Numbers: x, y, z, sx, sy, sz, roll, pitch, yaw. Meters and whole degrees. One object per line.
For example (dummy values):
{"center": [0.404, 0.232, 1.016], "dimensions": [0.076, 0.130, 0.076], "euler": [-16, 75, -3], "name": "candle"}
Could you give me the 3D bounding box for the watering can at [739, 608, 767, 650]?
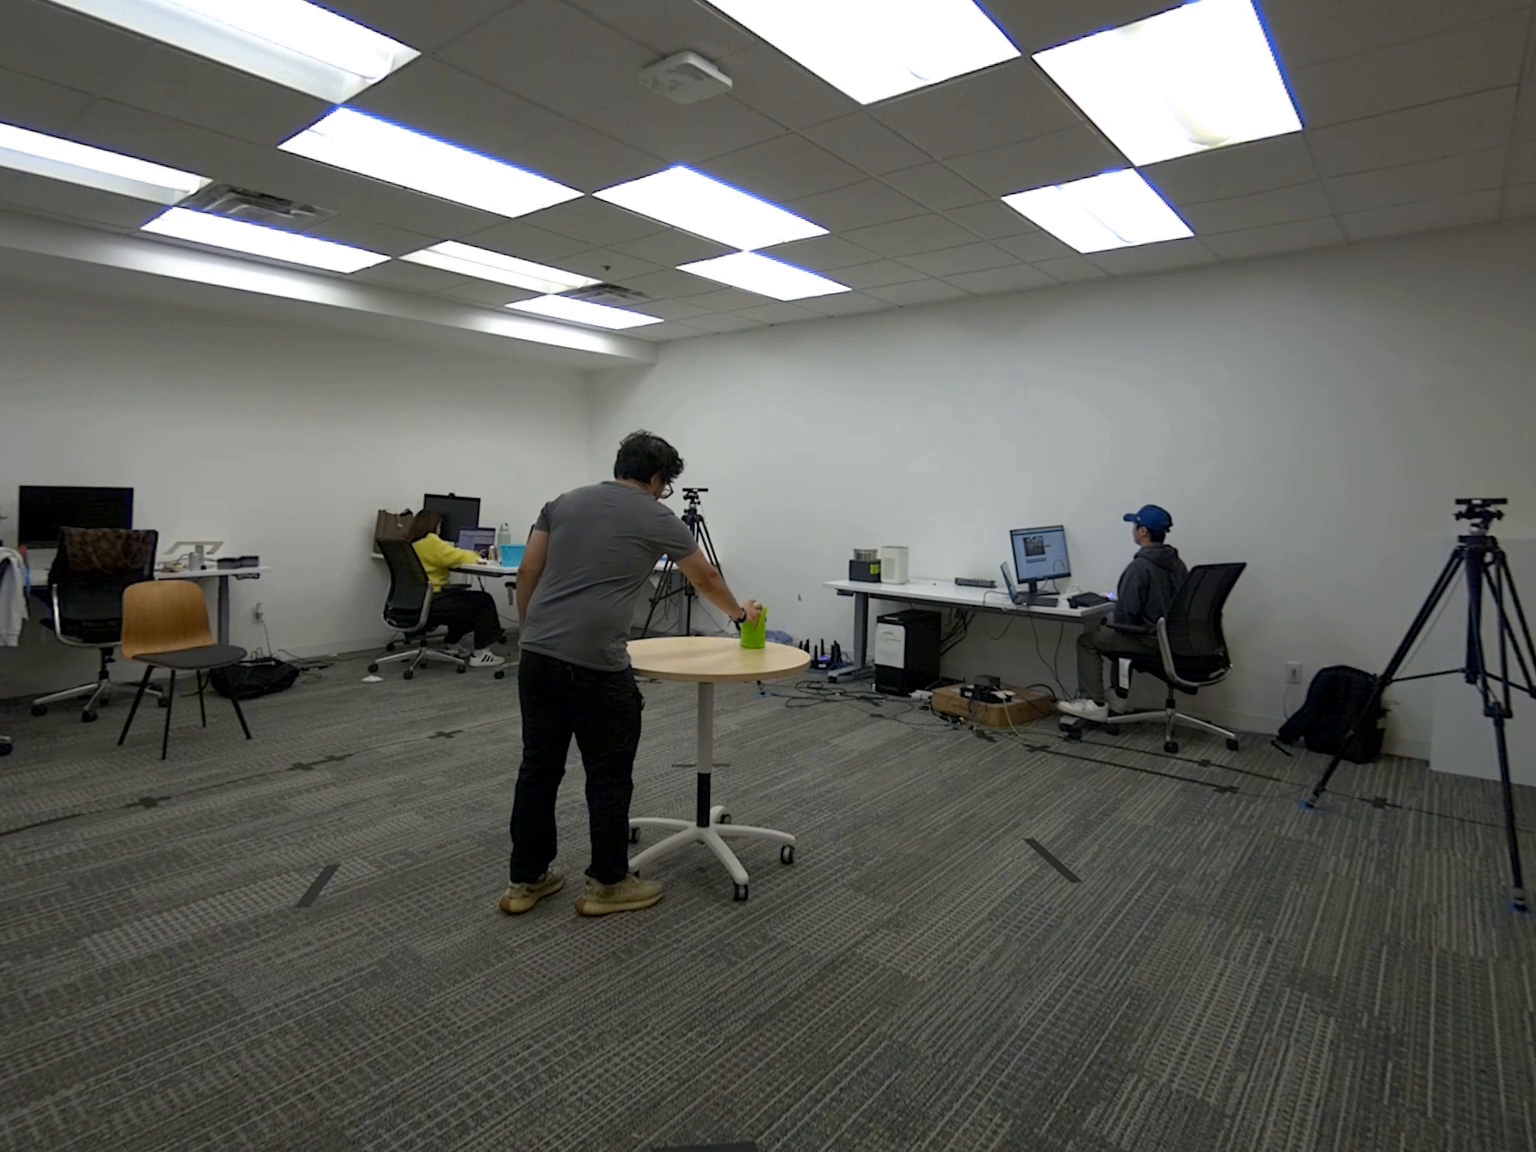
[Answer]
{"center": [-0.067, 0.188, 3.282], "dimensions": [0.098, 0.177, 0.279], "euler": [4, 2, -3], "name": "watering can"}
